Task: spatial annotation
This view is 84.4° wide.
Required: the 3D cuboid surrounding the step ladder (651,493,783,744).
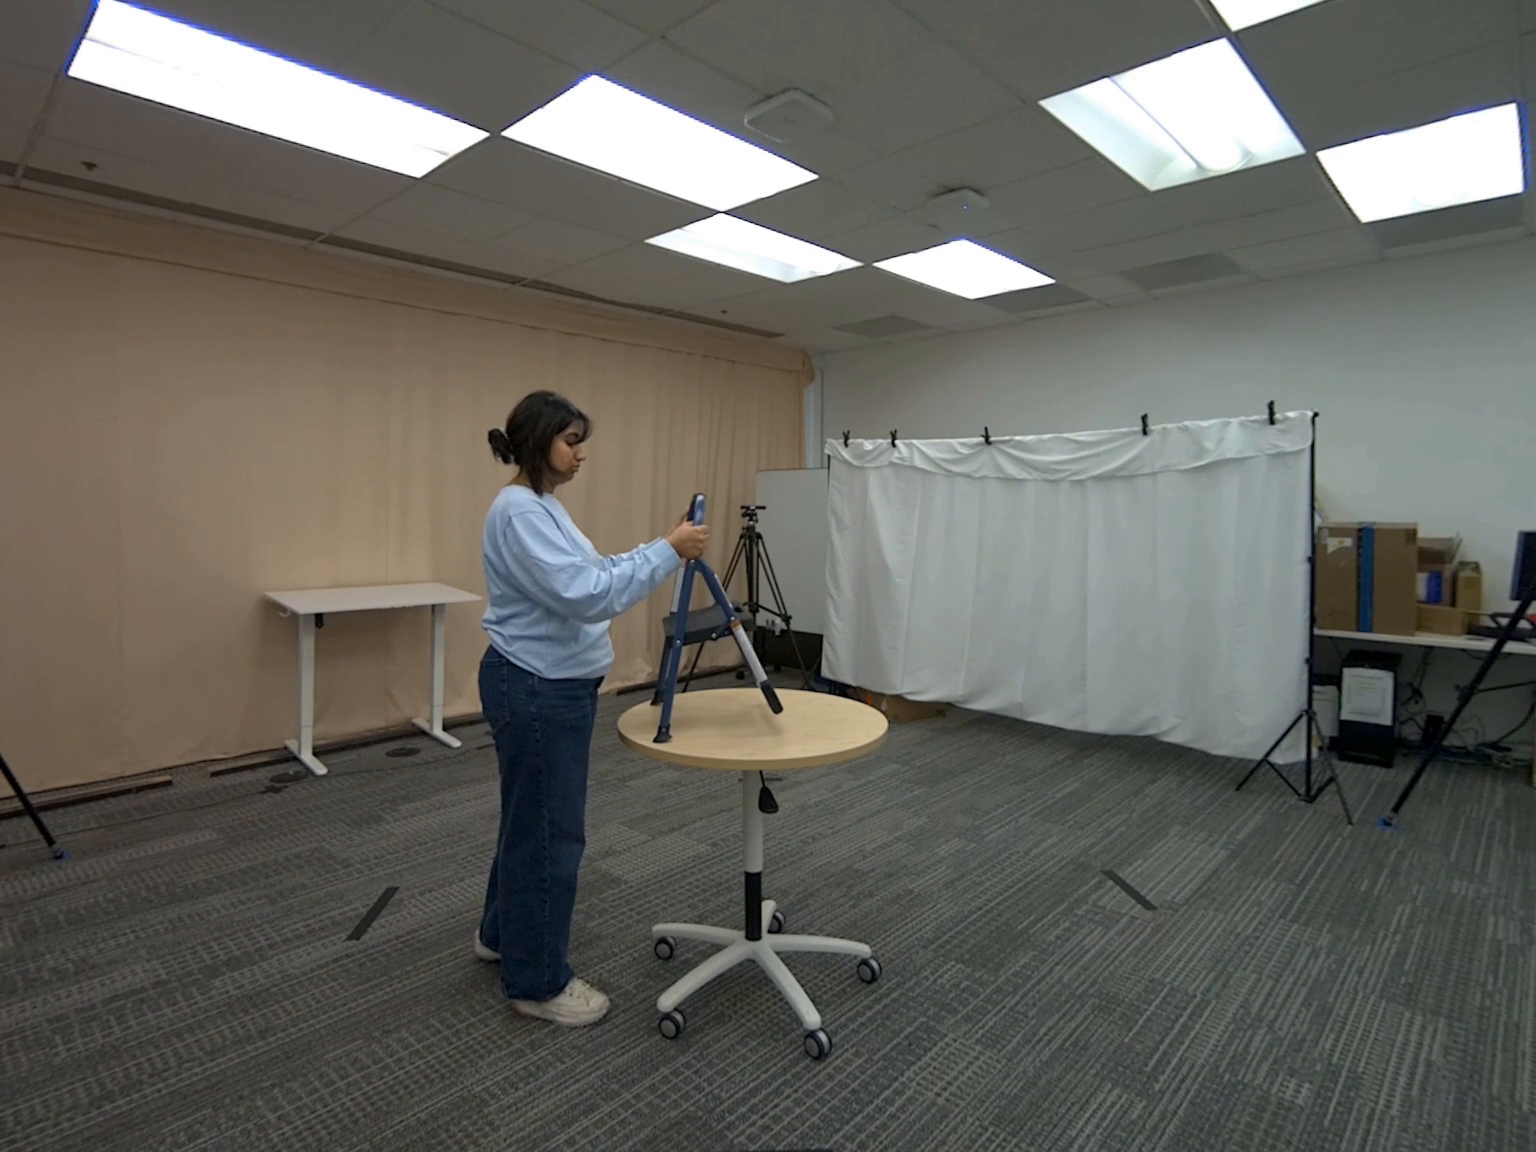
[{"bbox_3d":[-0.206,0.086,2.377,0.347,0.605,0.434,-11,3,-8],"label":"step ladder"}]
